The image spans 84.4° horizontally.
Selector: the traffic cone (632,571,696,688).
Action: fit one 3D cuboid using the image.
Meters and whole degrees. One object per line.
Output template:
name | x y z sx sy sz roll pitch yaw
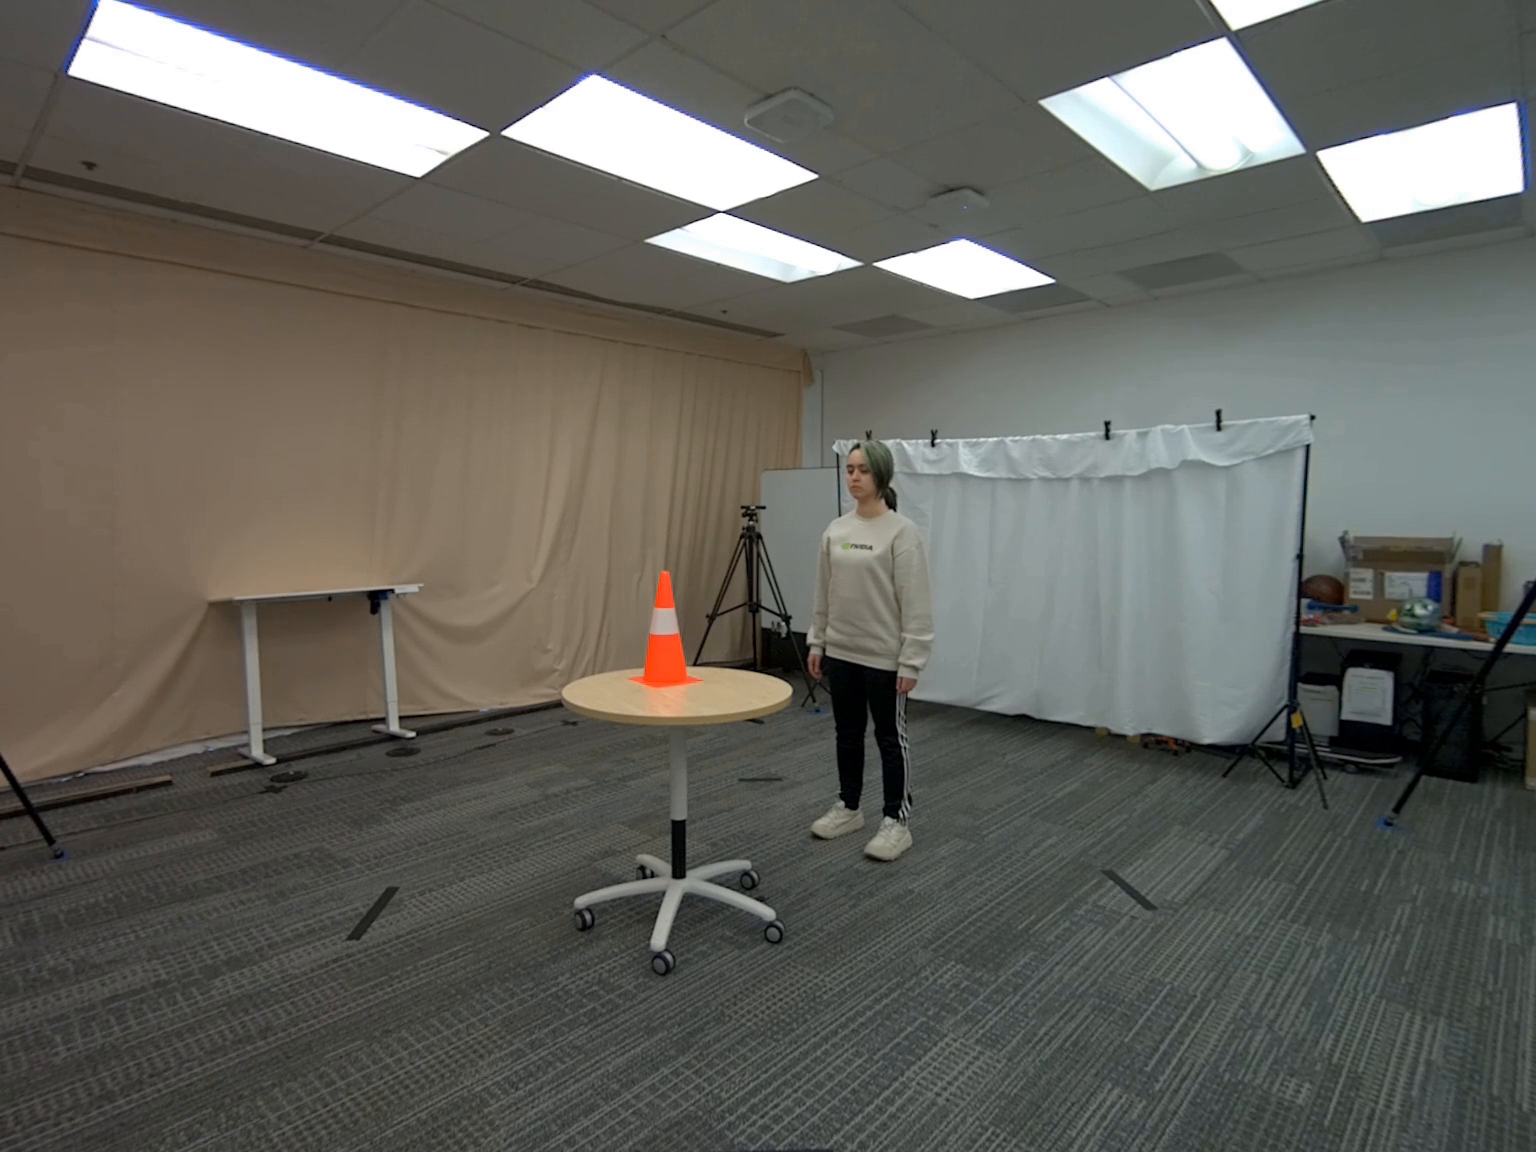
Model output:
traffic cone | -0.358 0.177 2.952 0.197 0.383 0.212 -3 3 -45
